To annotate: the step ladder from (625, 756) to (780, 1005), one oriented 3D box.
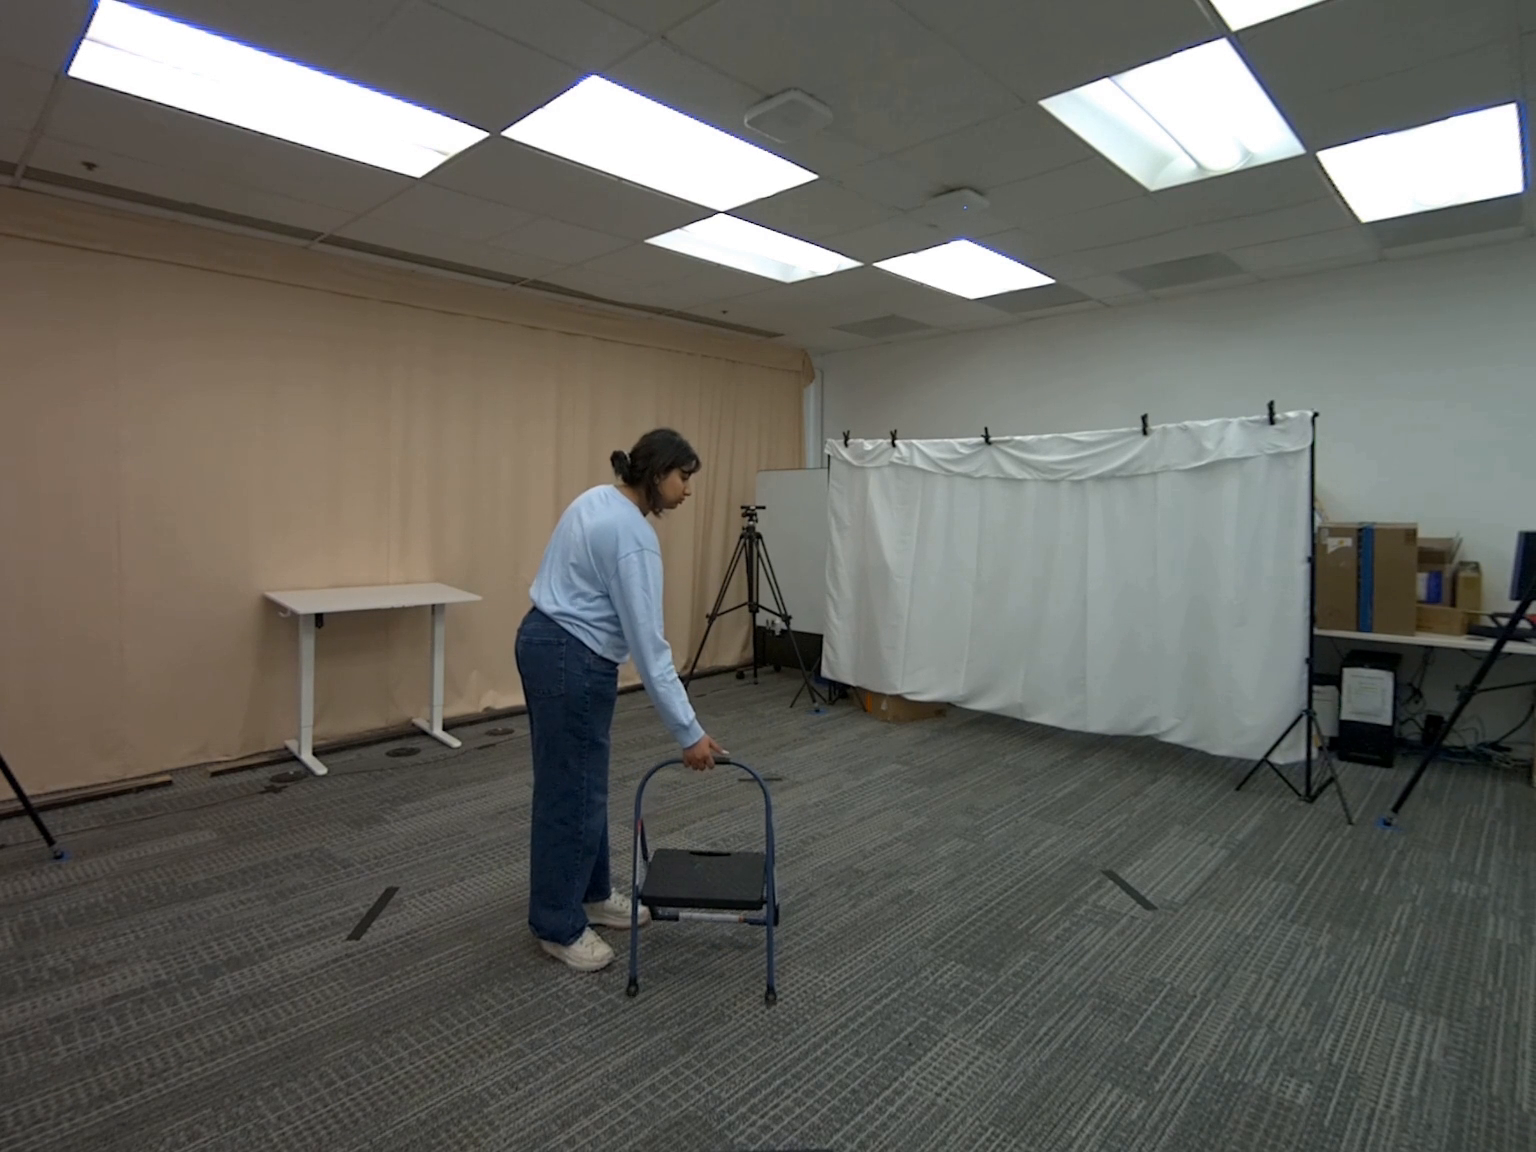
[{"bbox_3d":[-0.184,0.856,2.461,0.433,0.602,0.350,1,11,4],"label":"step ladder"}]
